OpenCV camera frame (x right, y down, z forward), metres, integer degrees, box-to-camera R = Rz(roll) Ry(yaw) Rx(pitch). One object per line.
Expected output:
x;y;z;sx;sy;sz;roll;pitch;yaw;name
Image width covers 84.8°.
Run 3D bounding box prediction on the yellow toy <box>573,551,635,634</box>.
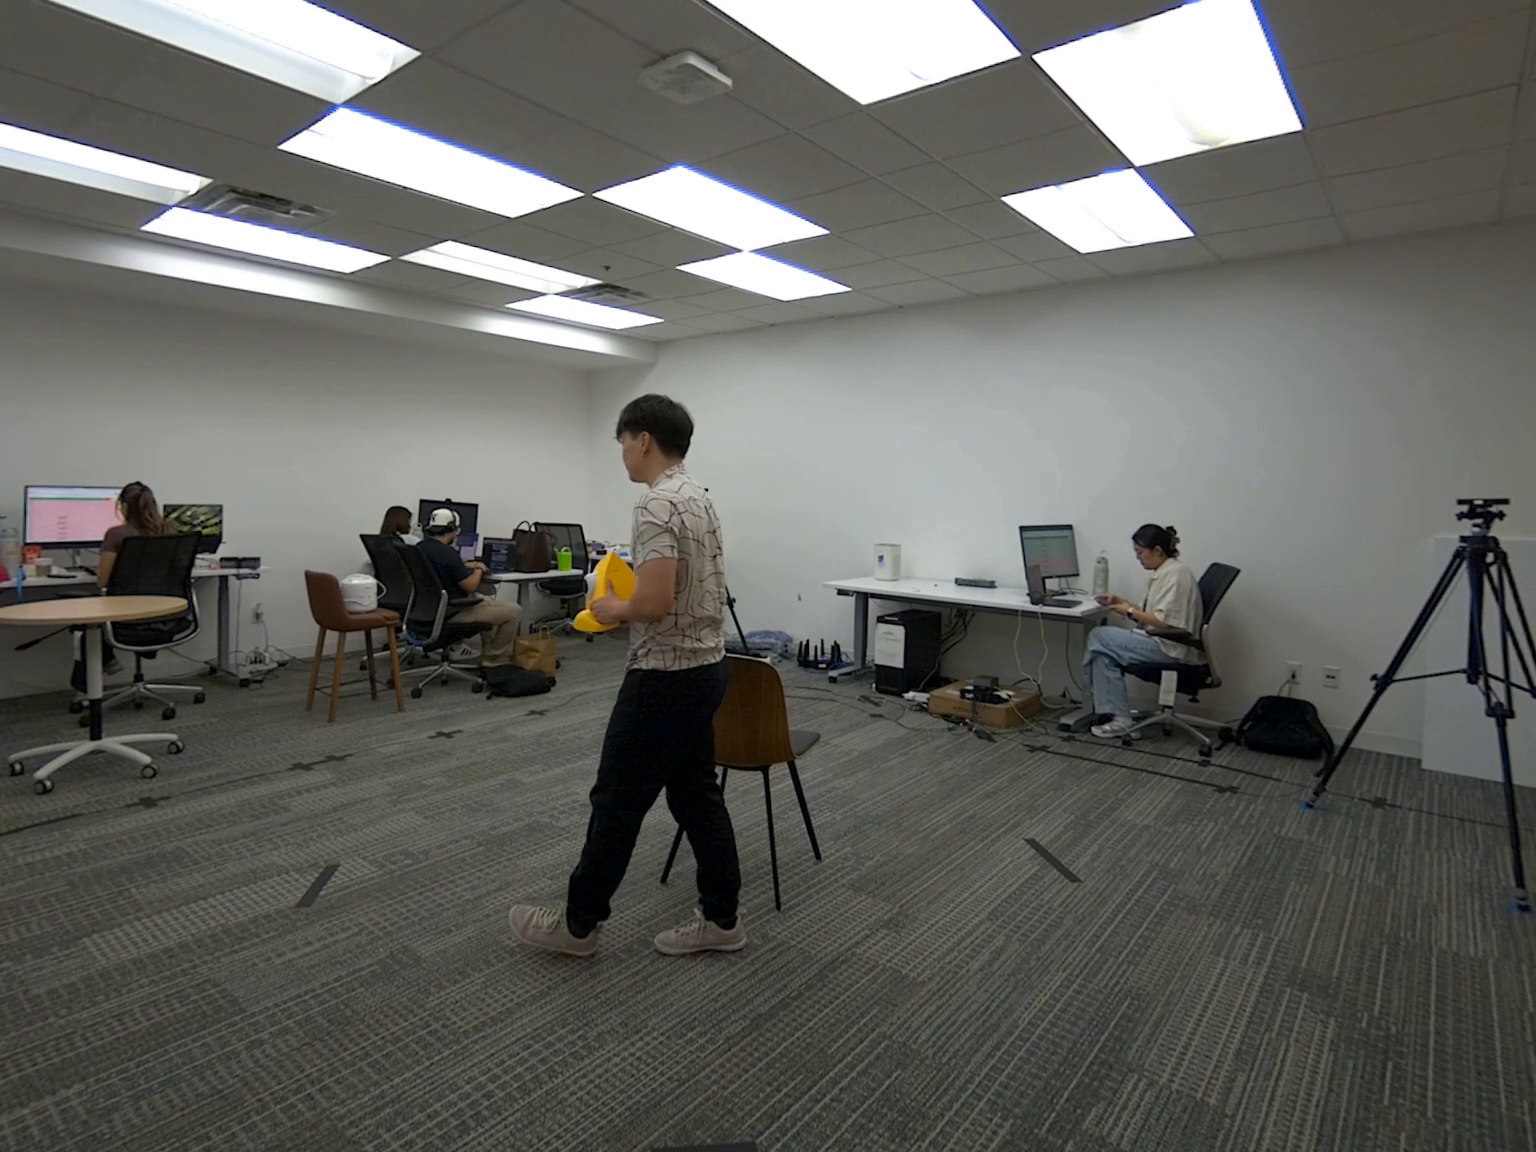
-0.523;0.029;2.640;0.199;0.228;0.201;2;14;34;yellow toy
